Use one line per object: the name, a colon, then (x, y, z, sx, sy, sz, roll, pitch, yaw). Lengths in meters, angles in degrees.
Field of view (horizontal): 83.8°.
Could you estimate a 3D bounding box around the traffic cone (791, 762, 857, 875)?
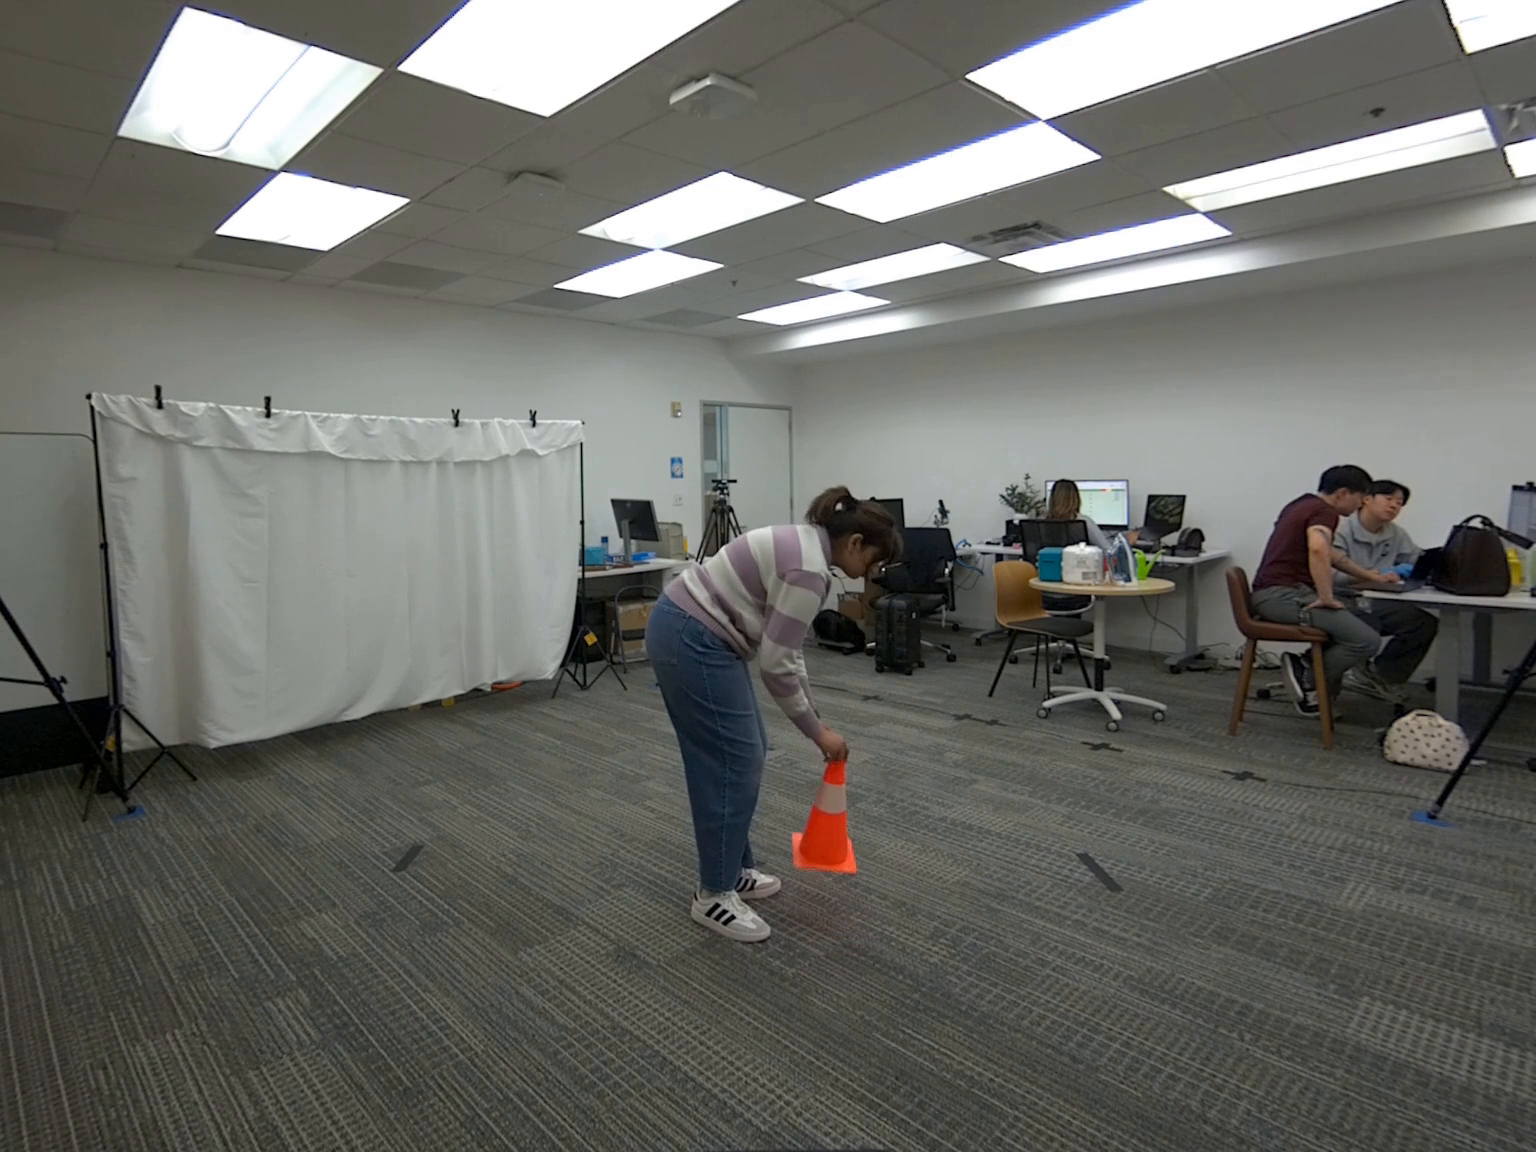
traffic cone: (0.202, 0.708, 2.724, 0.204, 0.381, 0.206, 7, 10, 1)
